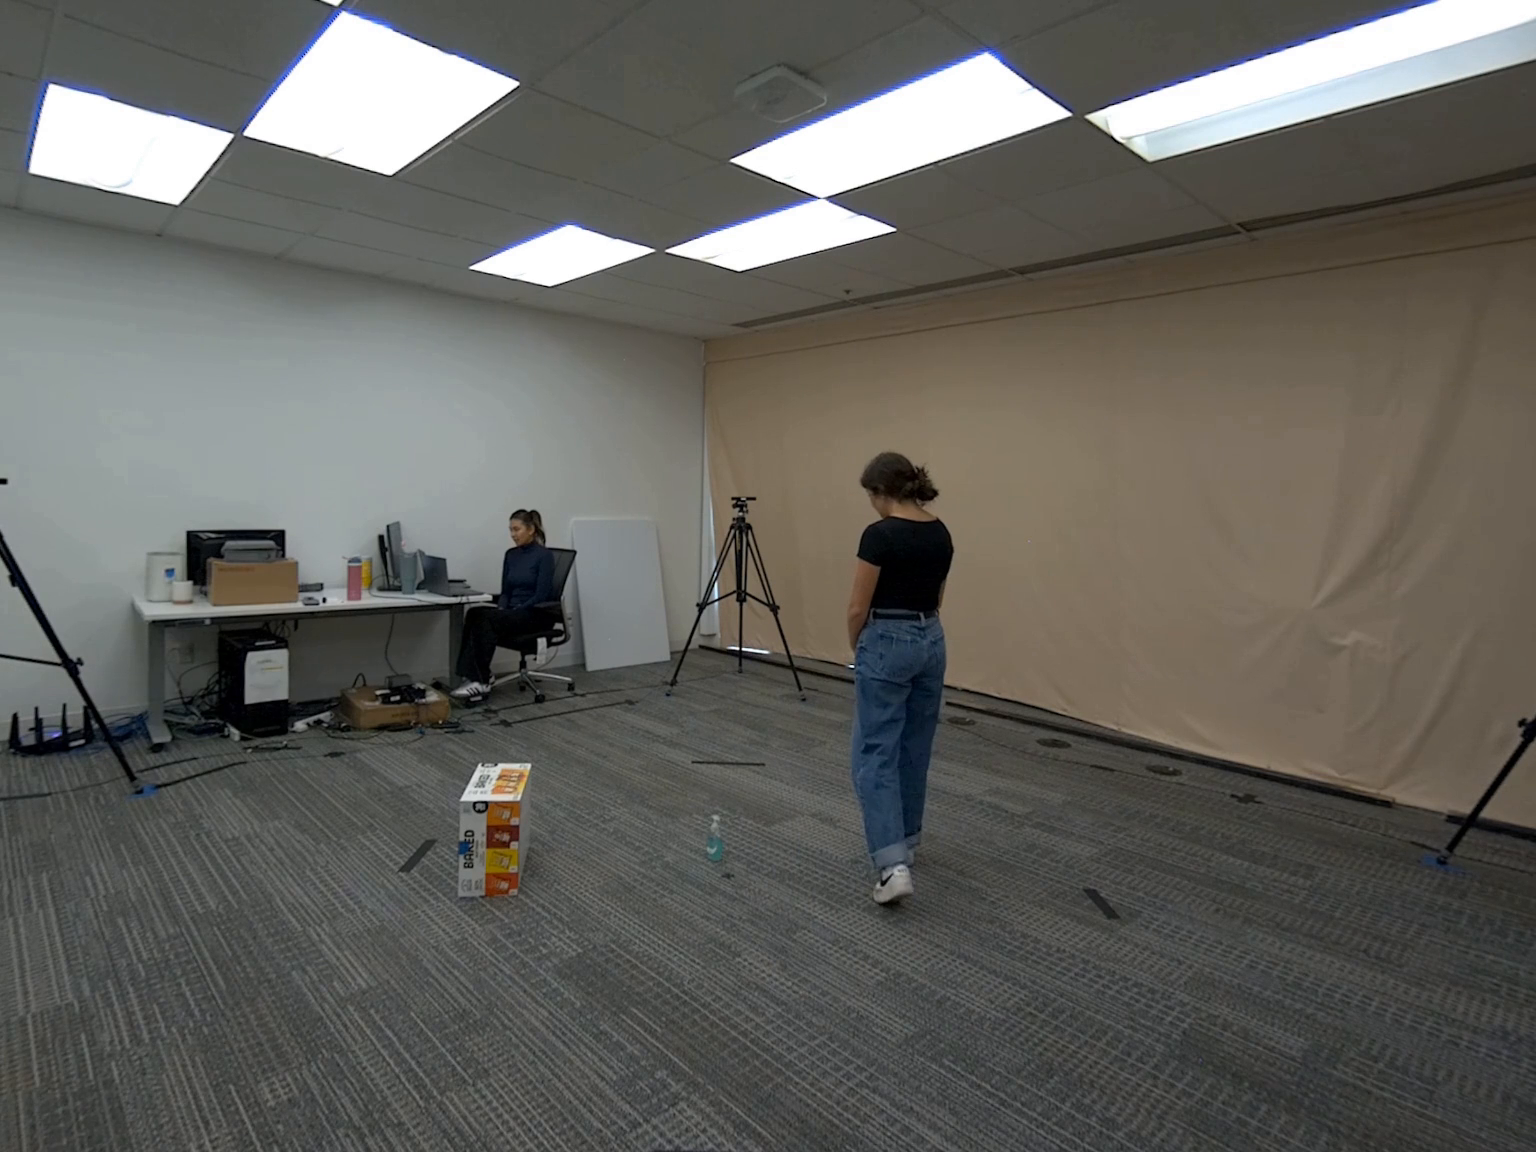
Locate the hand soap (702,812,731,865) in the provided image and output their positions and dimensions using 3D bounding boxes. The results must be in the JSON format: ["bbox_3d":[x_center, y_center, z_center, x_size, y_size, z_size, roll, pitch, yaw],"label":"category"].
[{"bbox_3d":[-0.213,1.013,3.246,0.042,0.168,0.086,2,0,-39],"label":"hand soap"}]
